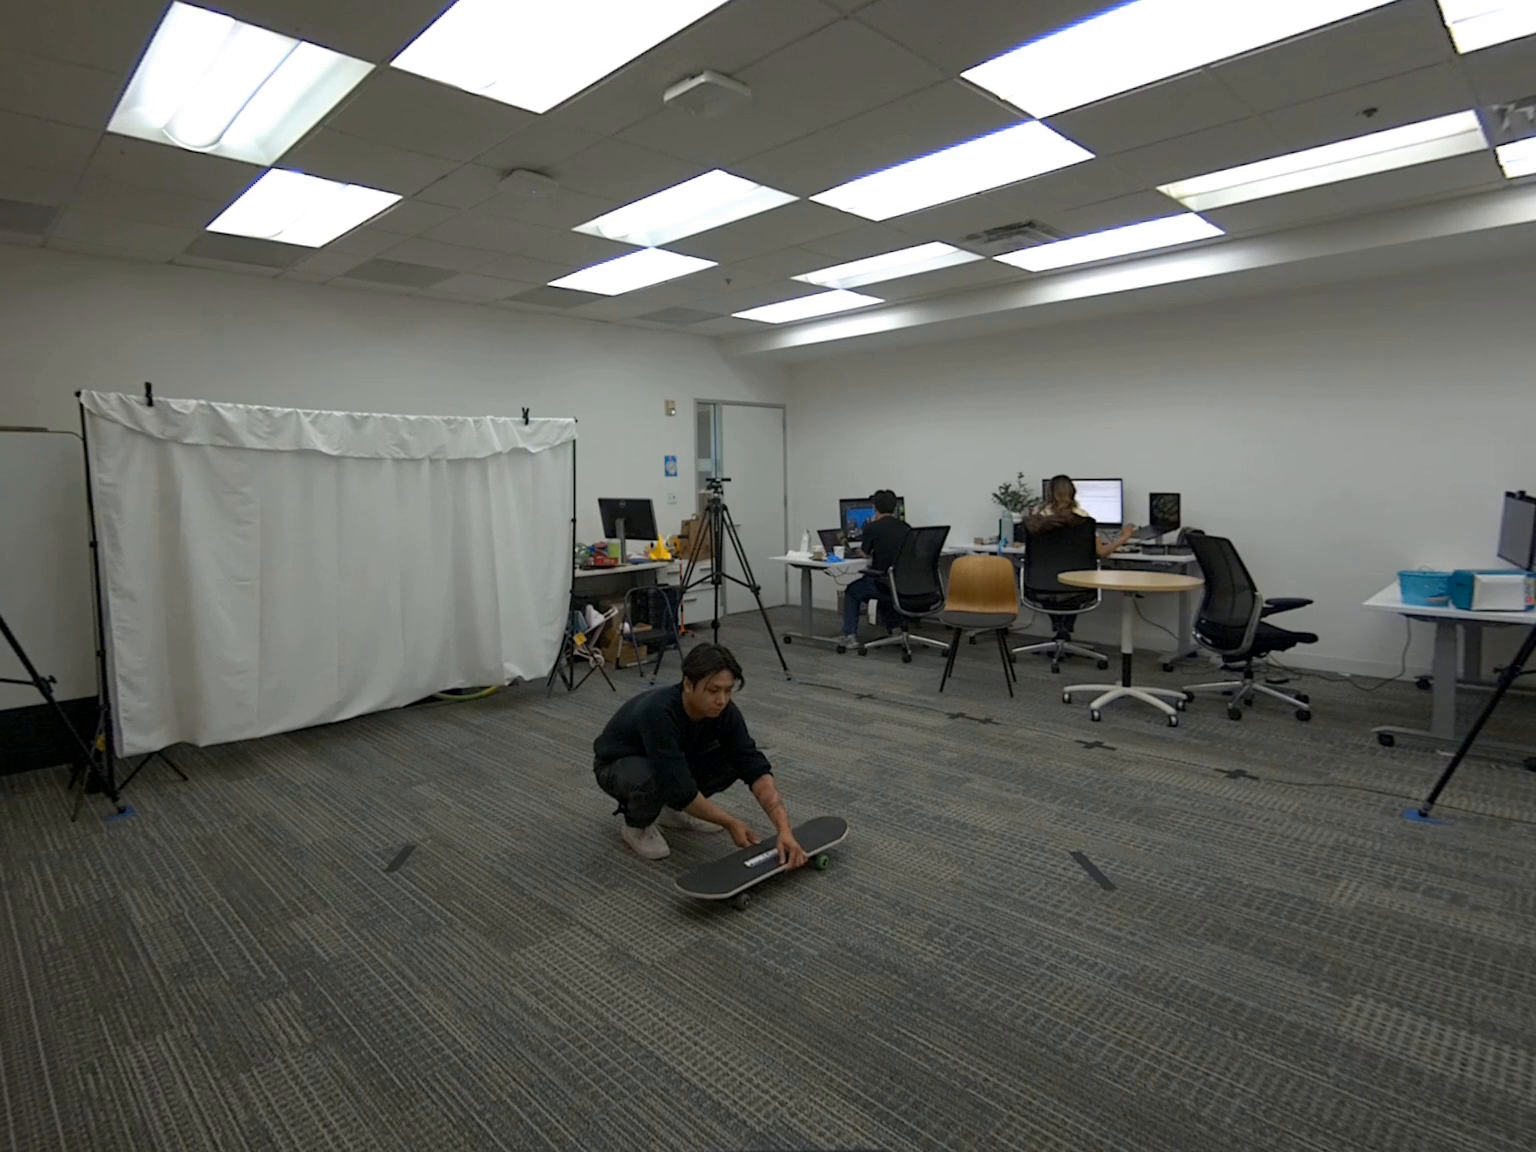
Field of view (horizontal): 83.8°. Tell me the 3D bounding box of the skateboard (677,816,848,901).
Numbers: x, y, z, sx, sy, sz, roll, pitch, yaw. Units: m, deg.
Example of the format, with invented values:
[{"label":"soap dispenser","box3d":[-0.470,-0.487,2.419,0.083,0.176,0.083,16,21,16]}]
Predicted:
[{"label":"skateboard","box3d":[0.000,0.993,2.965,0.199,0.110,0.765,5,9,44]}]
